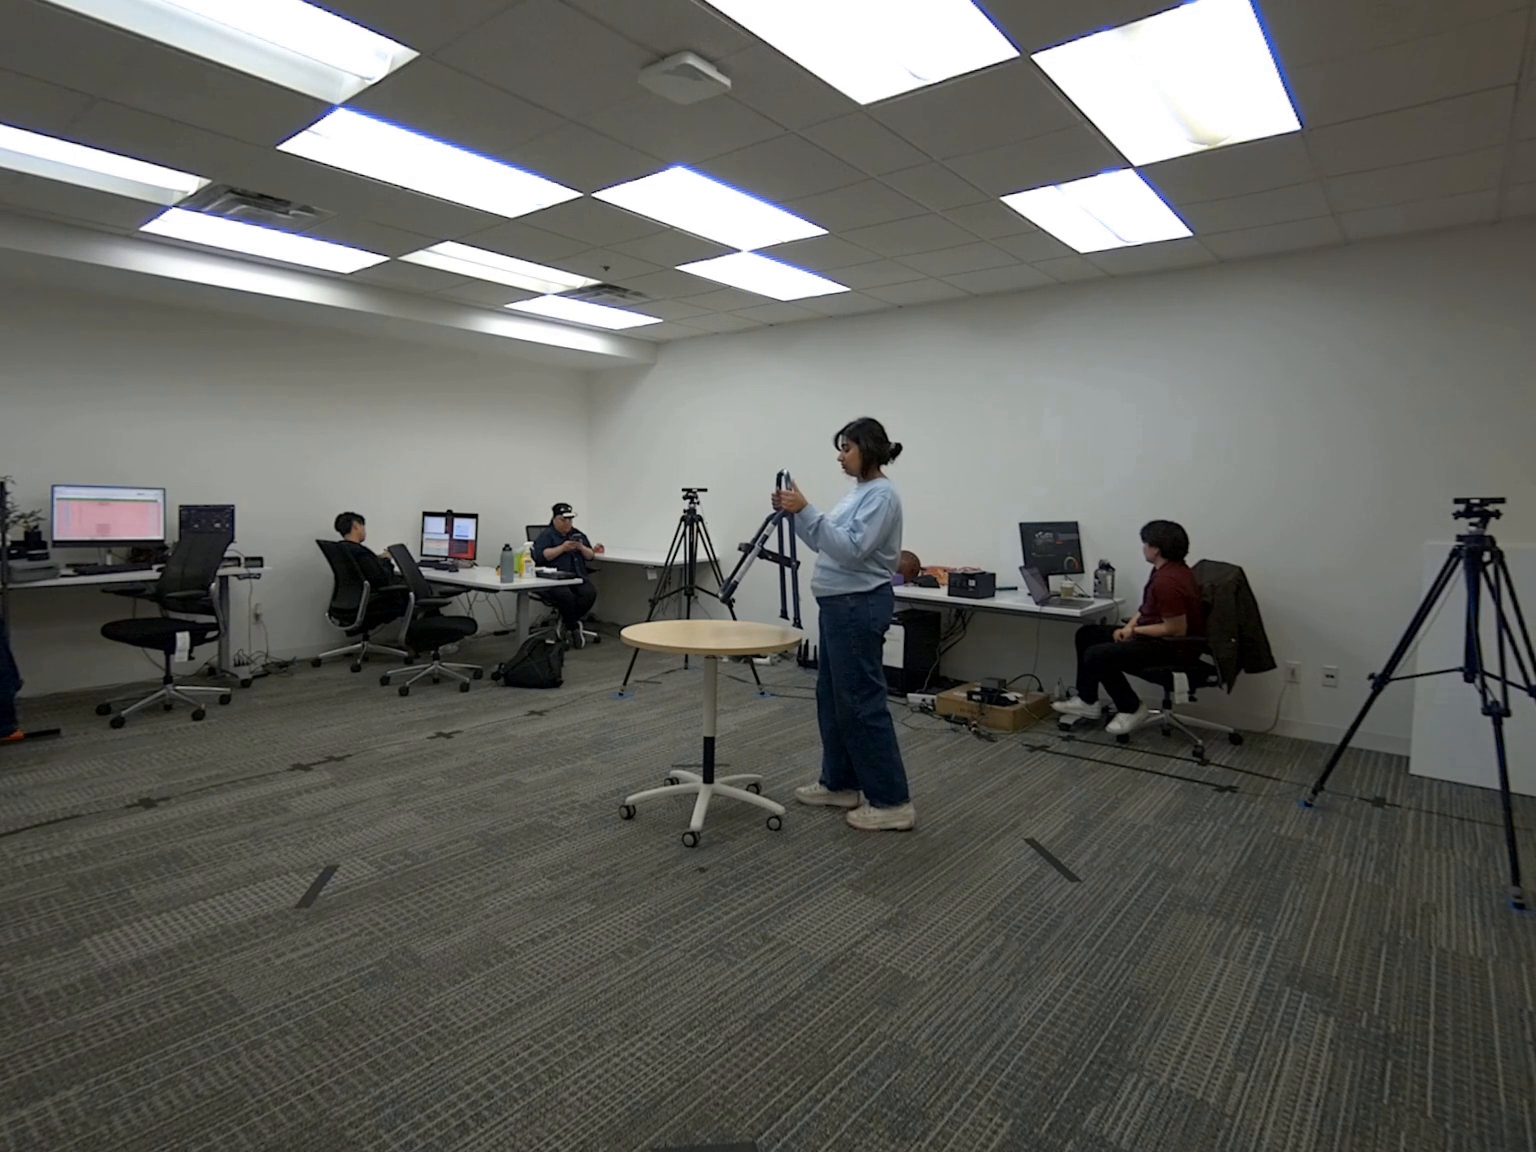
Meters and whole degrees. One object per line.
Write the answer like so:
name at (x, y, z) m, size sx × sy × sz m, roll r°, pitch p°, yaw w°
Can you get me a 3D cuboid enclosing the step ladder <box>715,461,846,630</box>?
step ladder at (0.036, -0.139, 3.616) m, size 0.347 × 0.606 × 0.433 m, roll 17°, pitch 0°, yaw -5°
